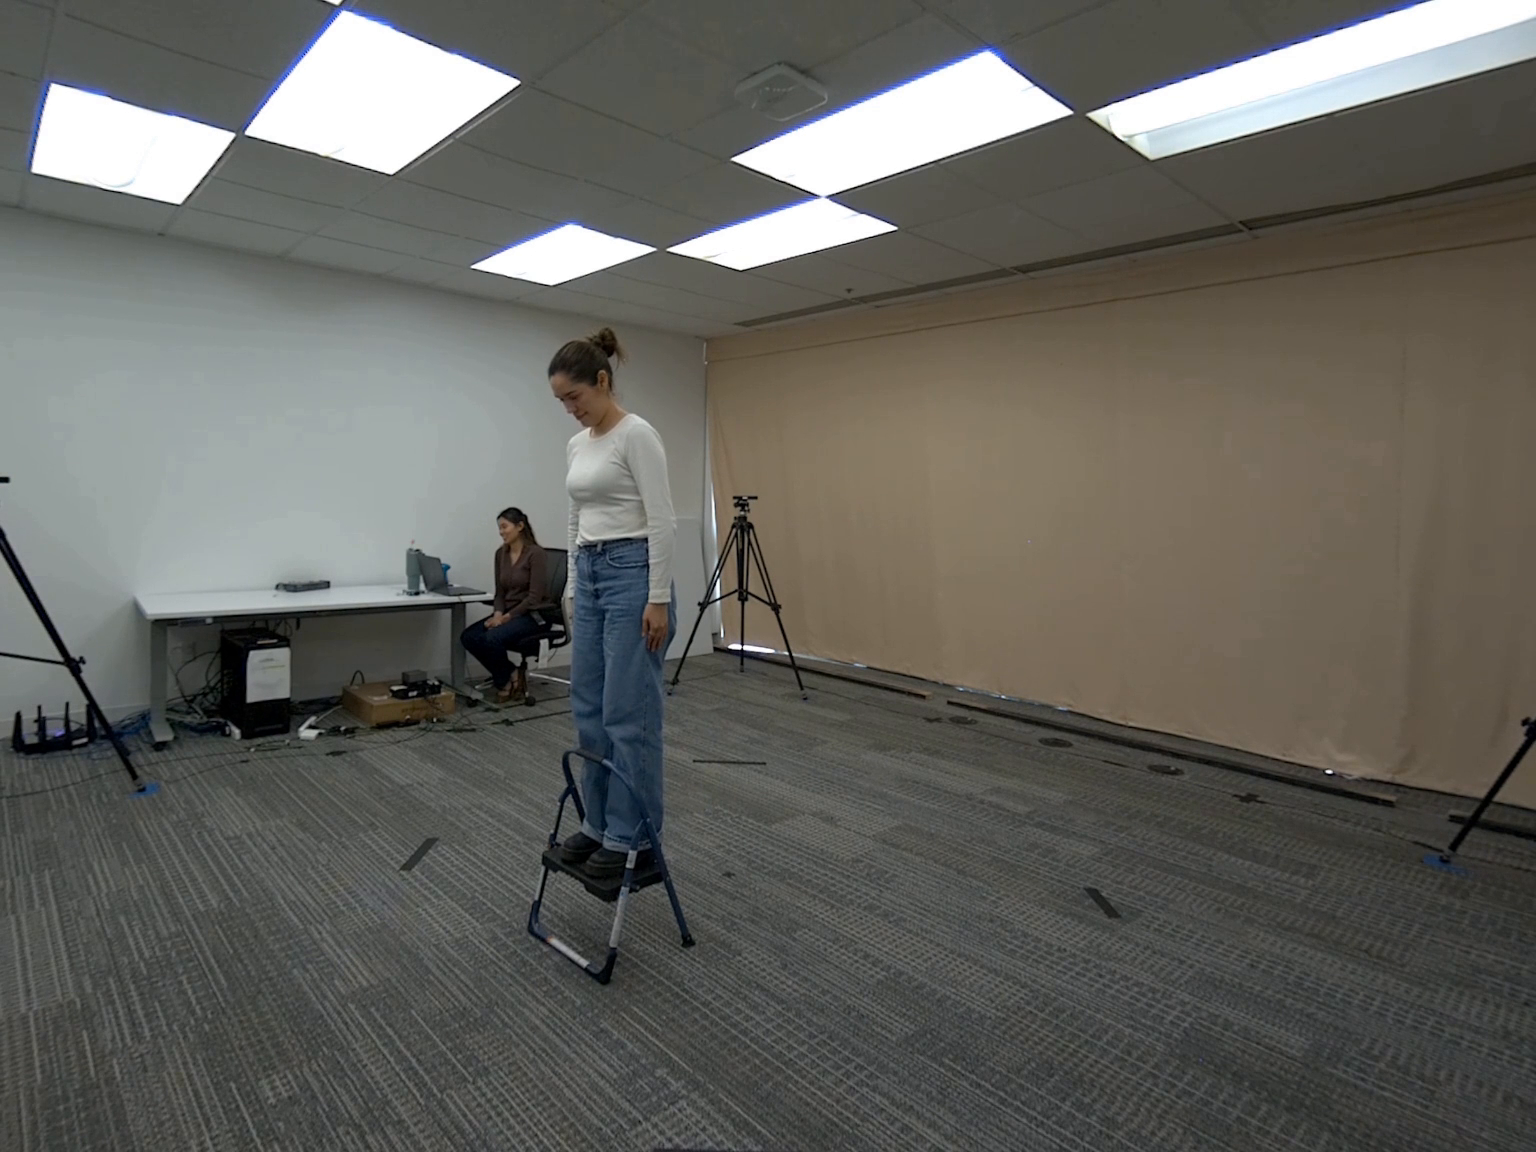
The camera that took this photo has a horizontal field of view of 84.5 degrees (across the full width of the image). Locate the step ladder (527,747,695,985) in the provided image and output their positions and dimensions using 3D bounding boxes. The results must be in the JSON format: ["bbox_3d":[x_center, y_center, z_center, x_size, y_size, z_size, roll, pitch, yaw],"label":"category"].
[{"bbox_3d":[-0.500,0.839,2.627,0.441,0.604,0.341,4,5,43],"label":"step ladder"}]
